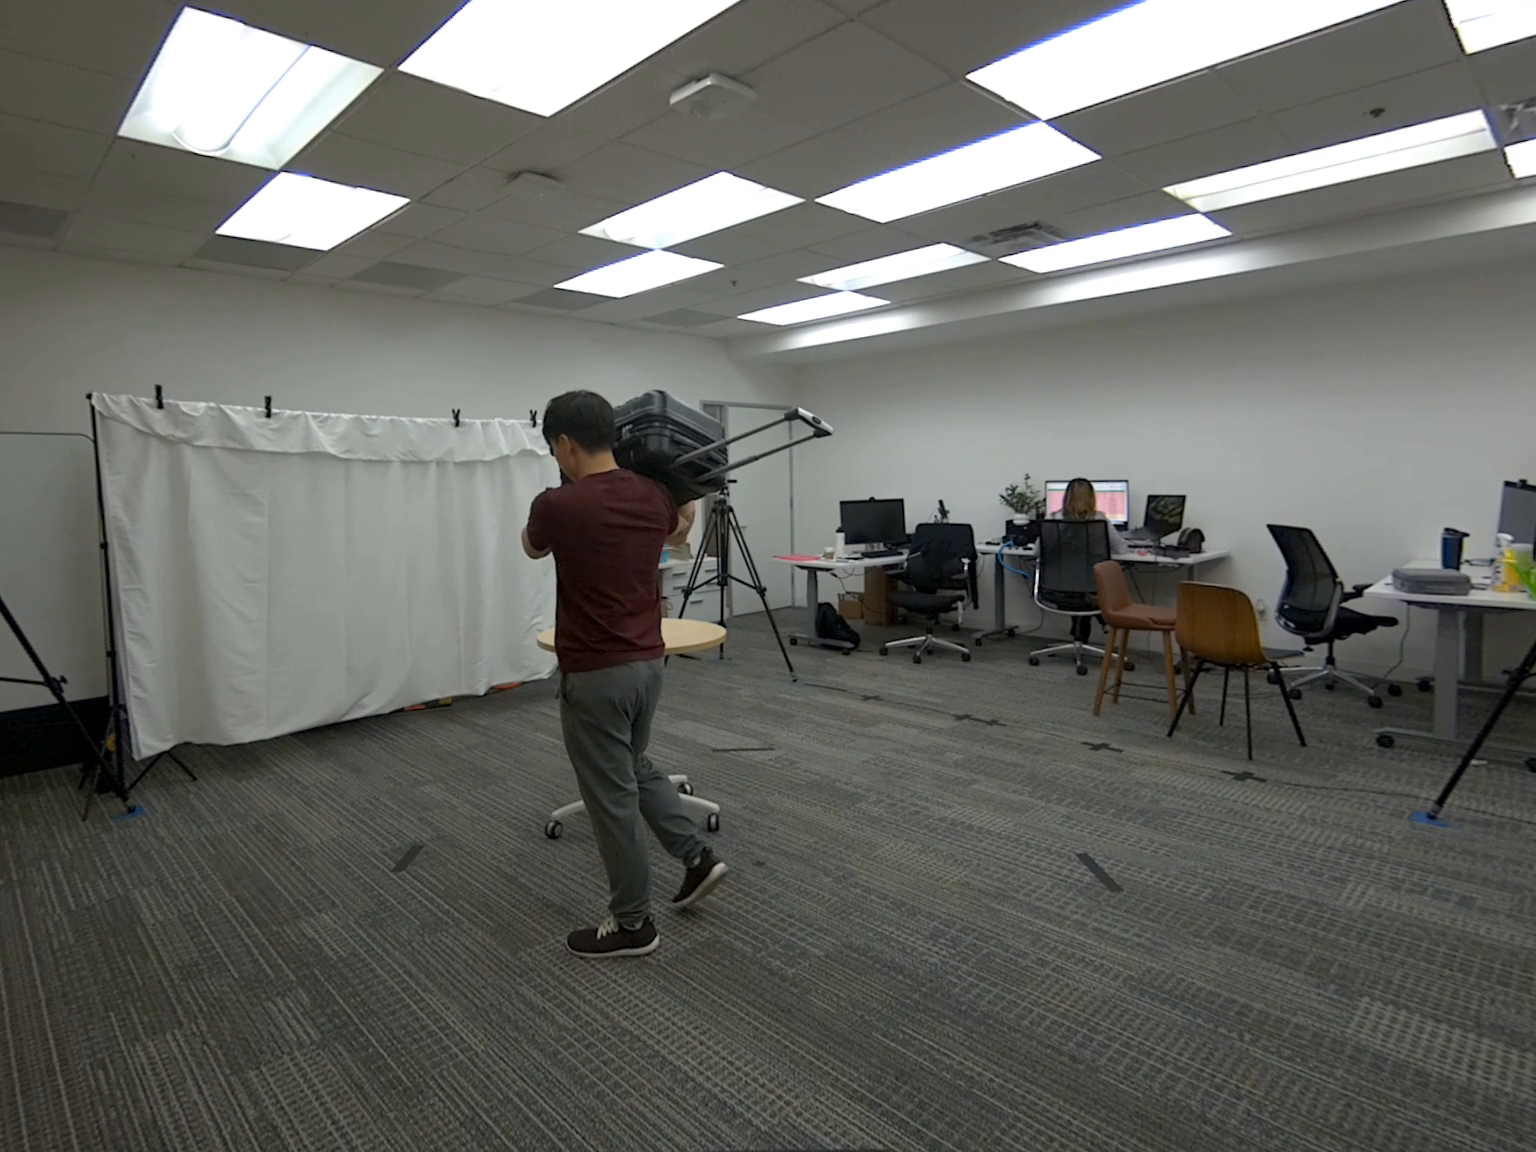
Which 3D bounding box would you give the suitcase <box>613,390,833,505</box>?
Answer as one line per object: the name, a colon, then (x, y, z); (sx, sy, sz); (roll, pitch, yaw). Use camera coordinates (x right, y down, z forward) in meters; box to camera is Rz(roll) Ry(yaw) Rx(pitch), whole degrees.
suitcase: (-0.258, -0.425, 2.663); (0.996, 0.262, 0.370); (-19, -29, 37)
